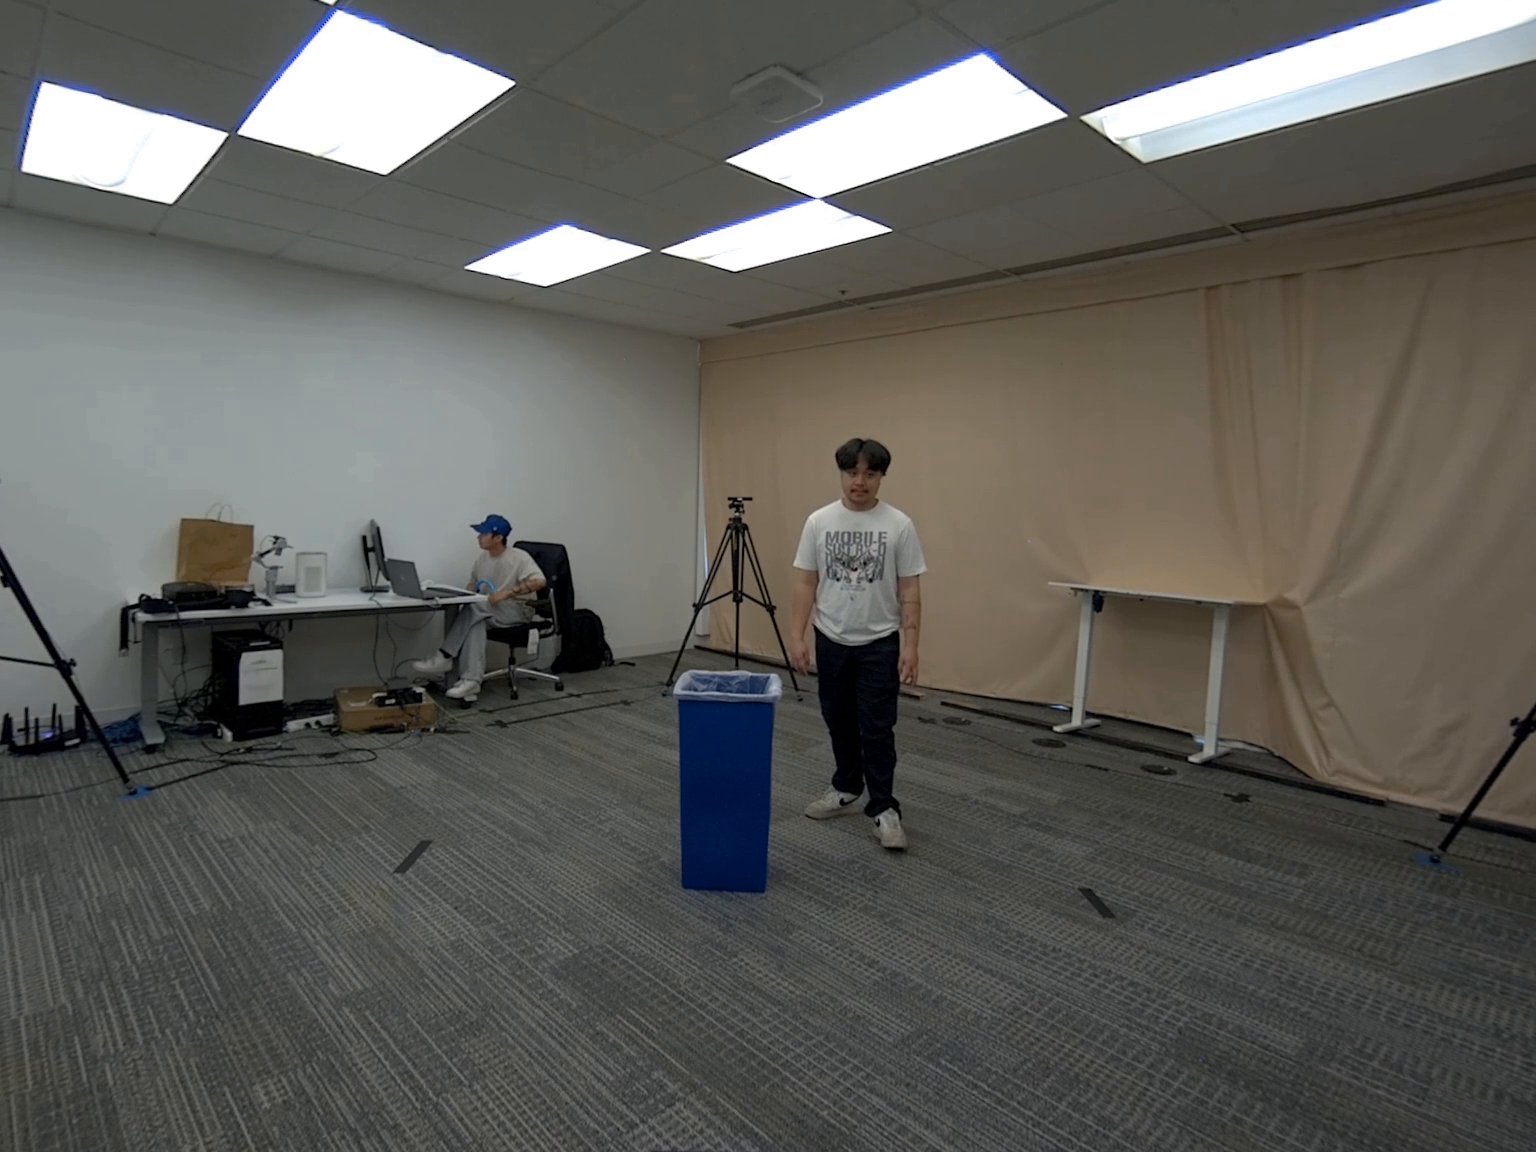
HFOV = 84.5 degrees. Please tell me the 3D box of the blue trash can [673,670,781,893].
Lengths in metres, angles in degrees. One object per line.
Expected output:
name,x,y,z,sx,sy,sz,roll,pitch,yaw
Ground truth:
blue trash can,-0.161,0.750,3.114,0.375,0.712,0.378,2,3,3
